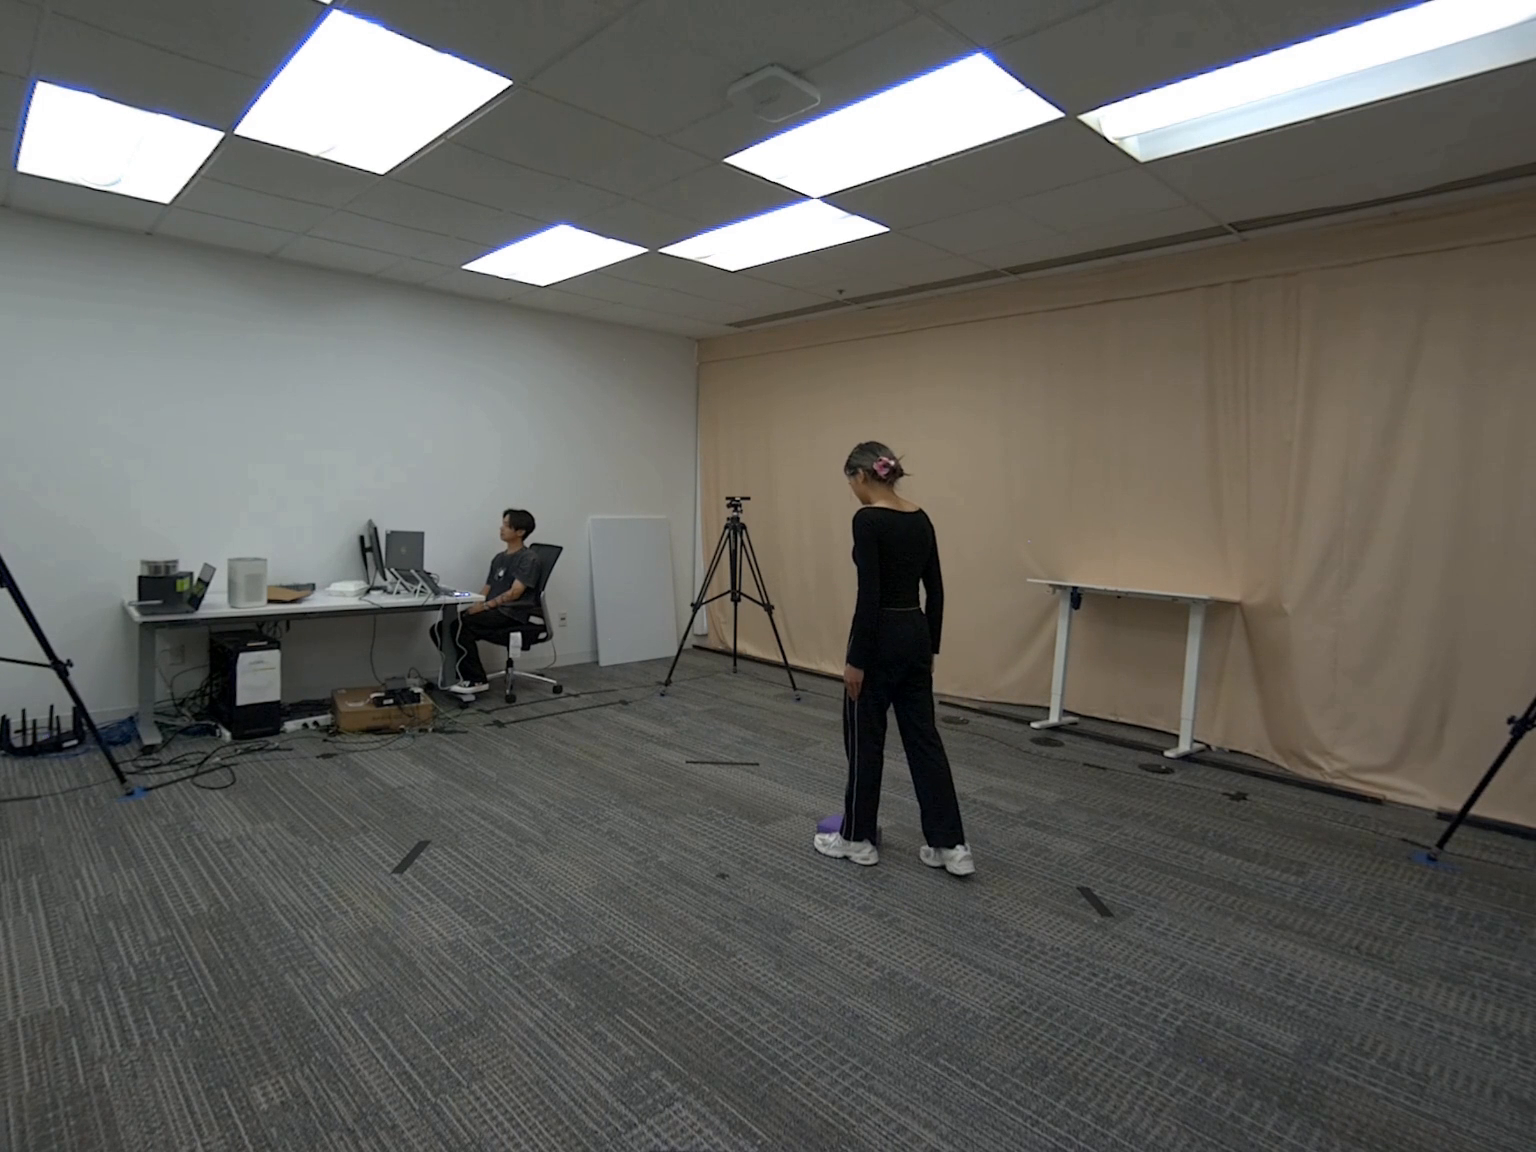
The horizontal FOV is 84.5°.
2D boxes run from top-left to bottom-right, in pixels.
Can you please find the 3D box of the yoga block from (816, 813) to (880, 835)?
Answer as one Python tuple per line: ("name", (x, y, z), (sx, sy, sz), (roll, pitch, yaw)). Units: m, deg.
("yoga block", (0.325, 1.051, 3.438), (0.235, 0.076, 0.146), (4, 5, 35))
